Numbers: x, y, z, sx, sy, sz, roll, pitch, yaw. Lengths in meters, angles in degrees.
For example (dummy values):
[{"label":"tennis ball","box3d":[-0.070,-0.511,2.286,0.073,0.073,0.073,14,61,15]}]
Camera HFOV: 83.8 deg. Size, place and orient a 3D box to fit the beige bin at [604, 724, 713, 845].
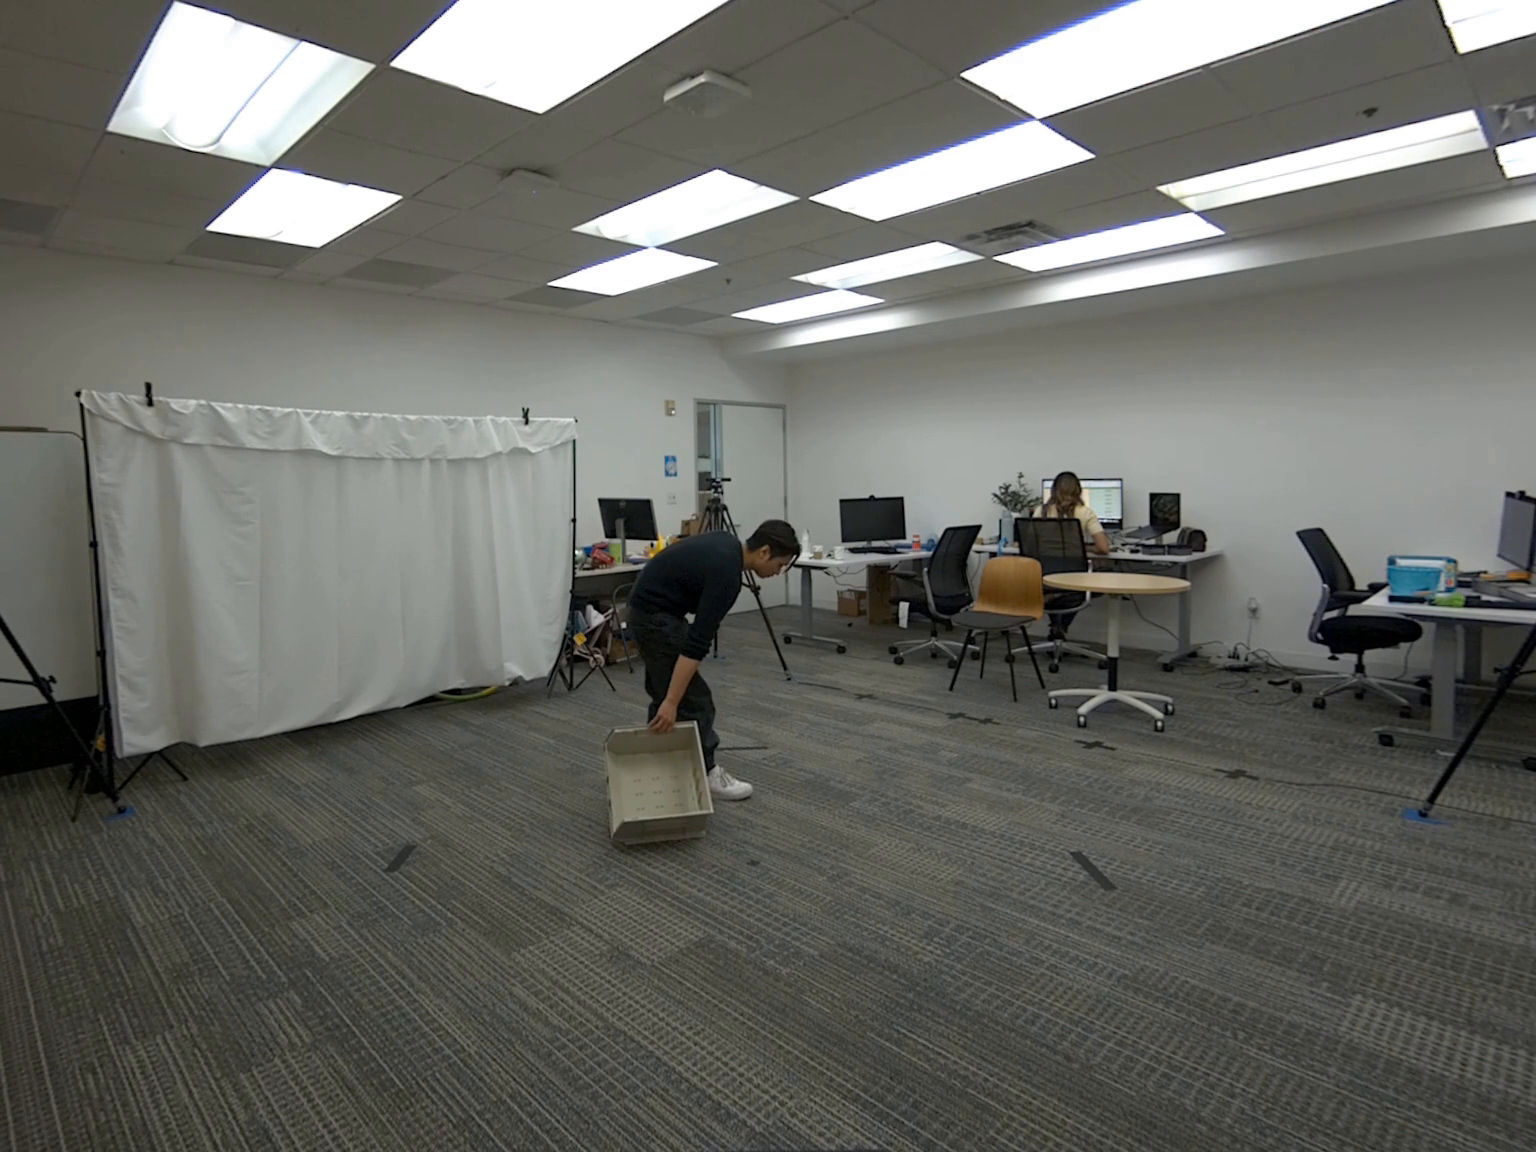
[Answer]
[{"label":"beige bin","box3d":[-0.446,0.821,3.391,0.373,0.185,0.437,-2,42,-13]}]
